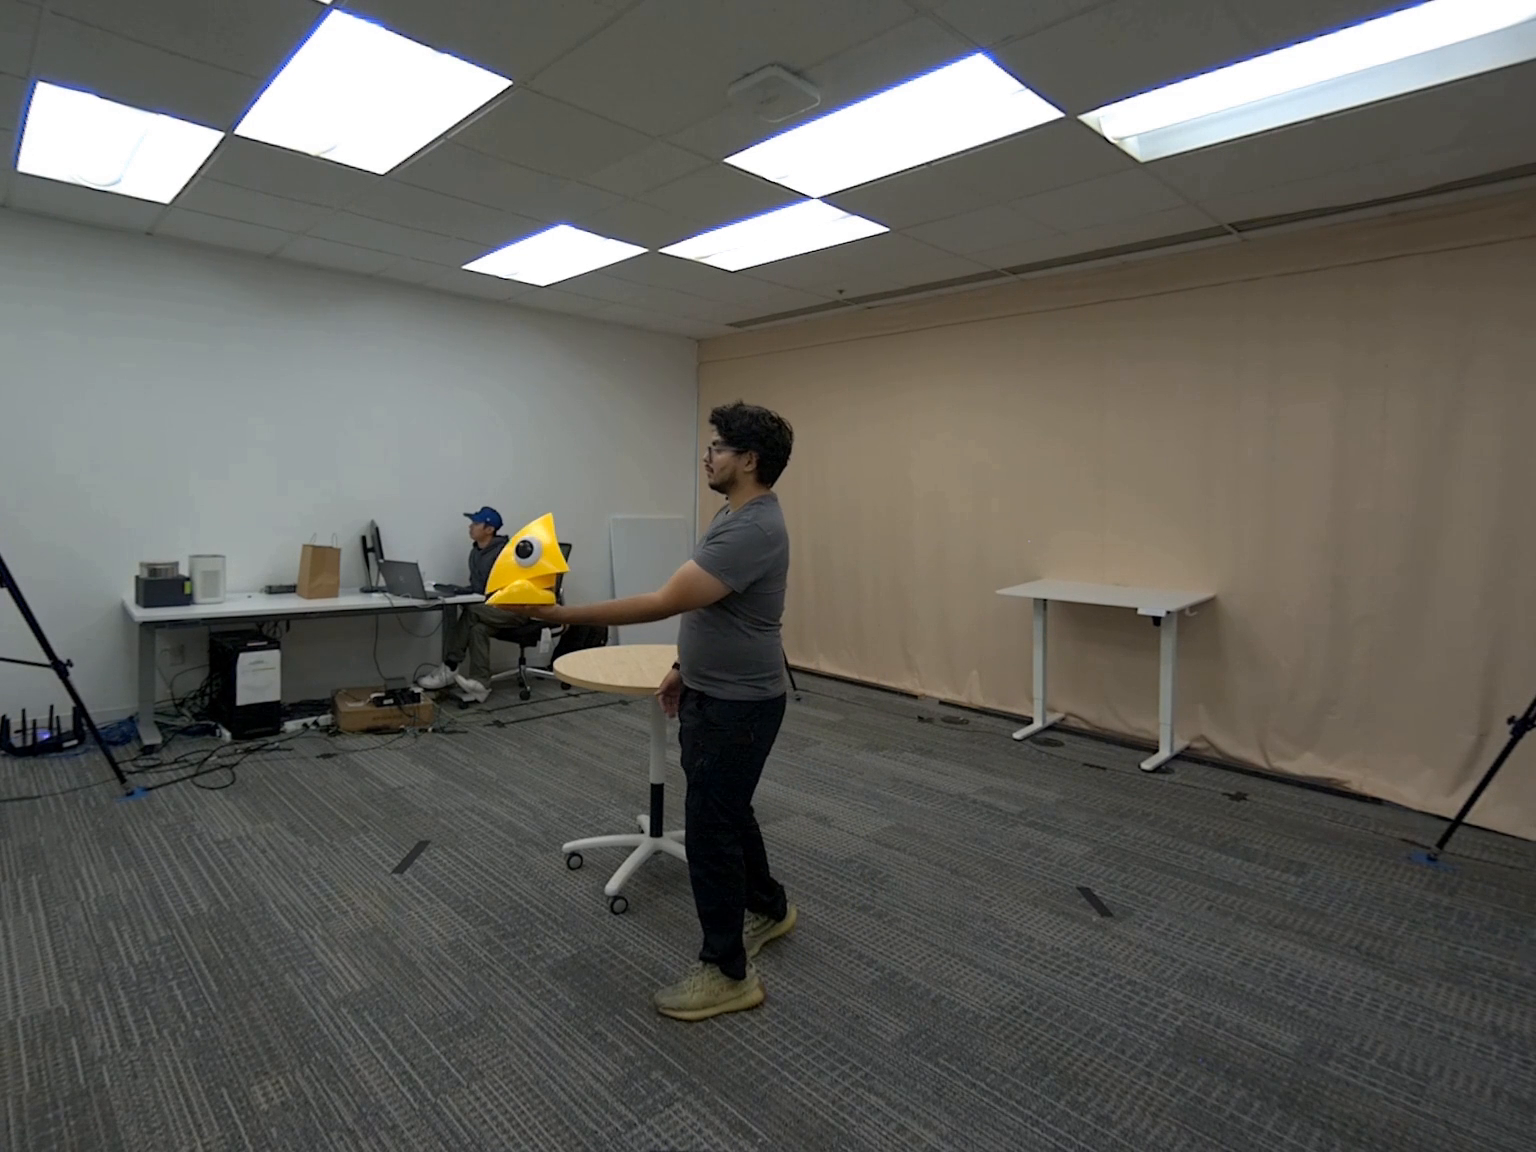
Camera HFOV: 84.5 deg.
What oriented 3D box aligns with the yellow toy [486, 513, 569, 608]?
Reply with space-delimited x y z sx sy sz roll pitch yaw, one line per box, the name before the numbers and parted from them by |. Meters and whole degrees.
yellow toy | -0.600 -0.040 2.098 0.190 0.231 0.207 1 -4 -23
